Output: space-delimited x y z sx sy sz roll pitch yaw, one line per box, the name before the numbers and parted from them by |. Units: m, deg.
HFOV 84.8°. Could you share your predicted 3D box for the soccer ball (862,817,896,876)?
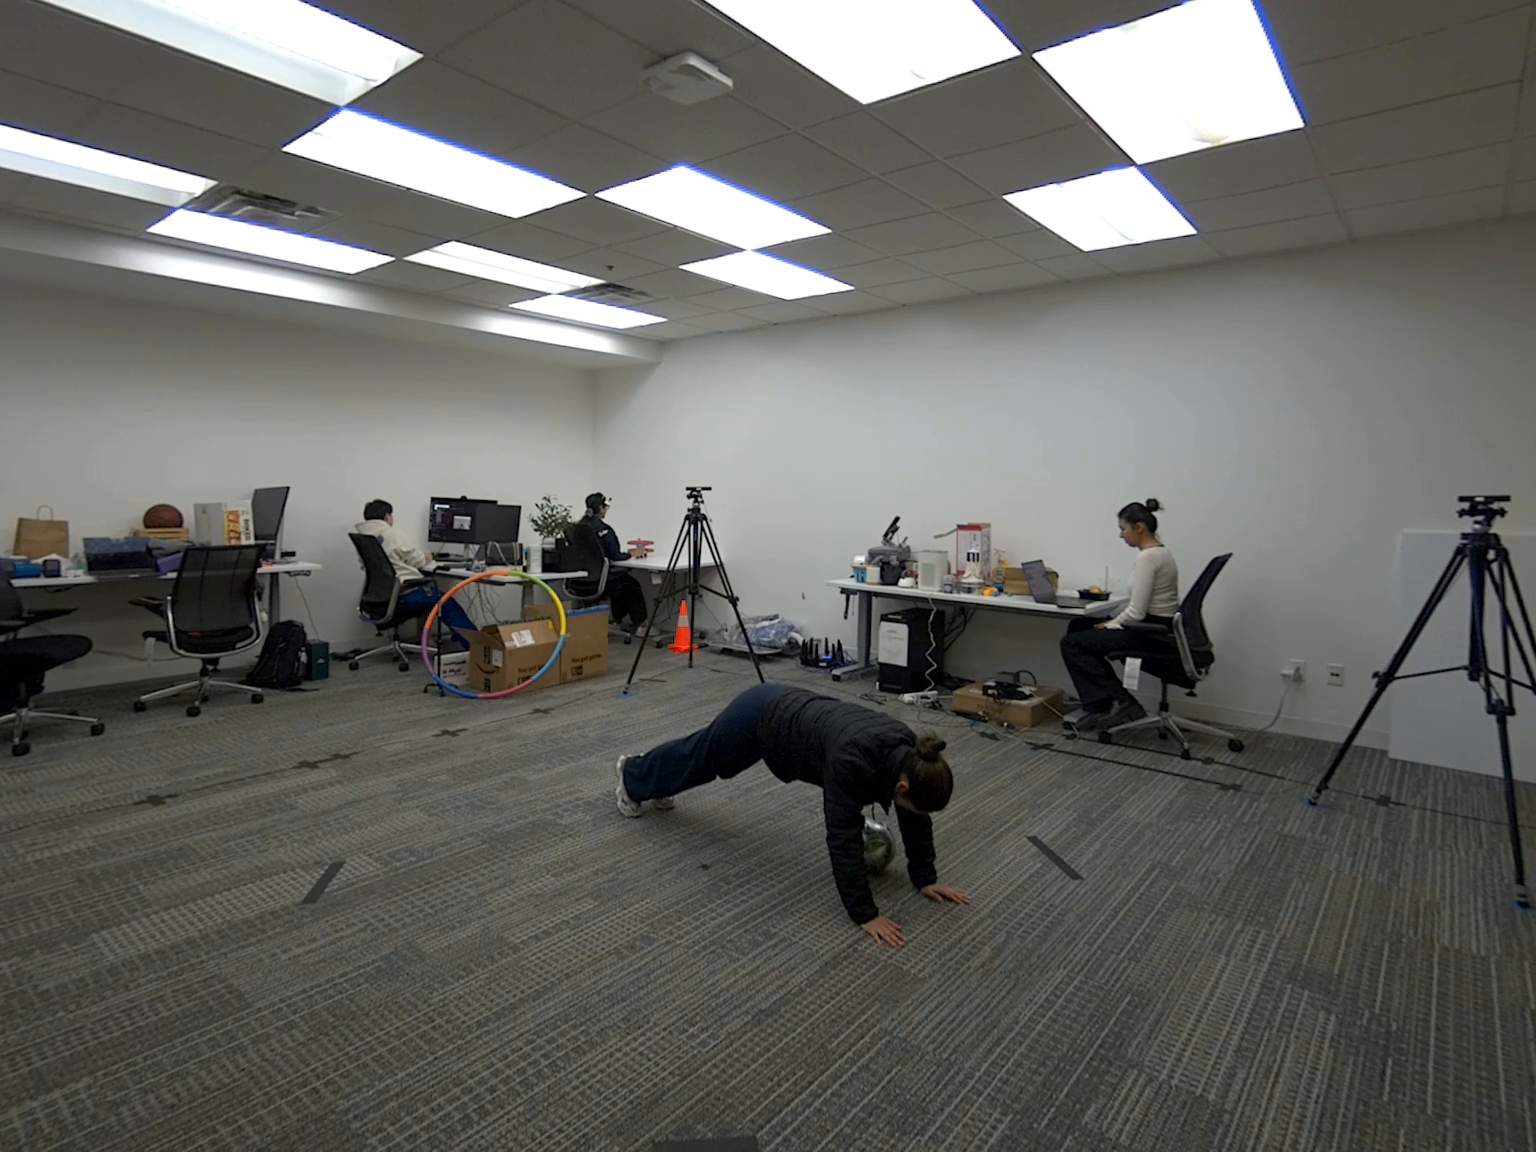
soccer ball | 0.371 0.982 3.125 0.187 0.187 0.188 1 4 -2
